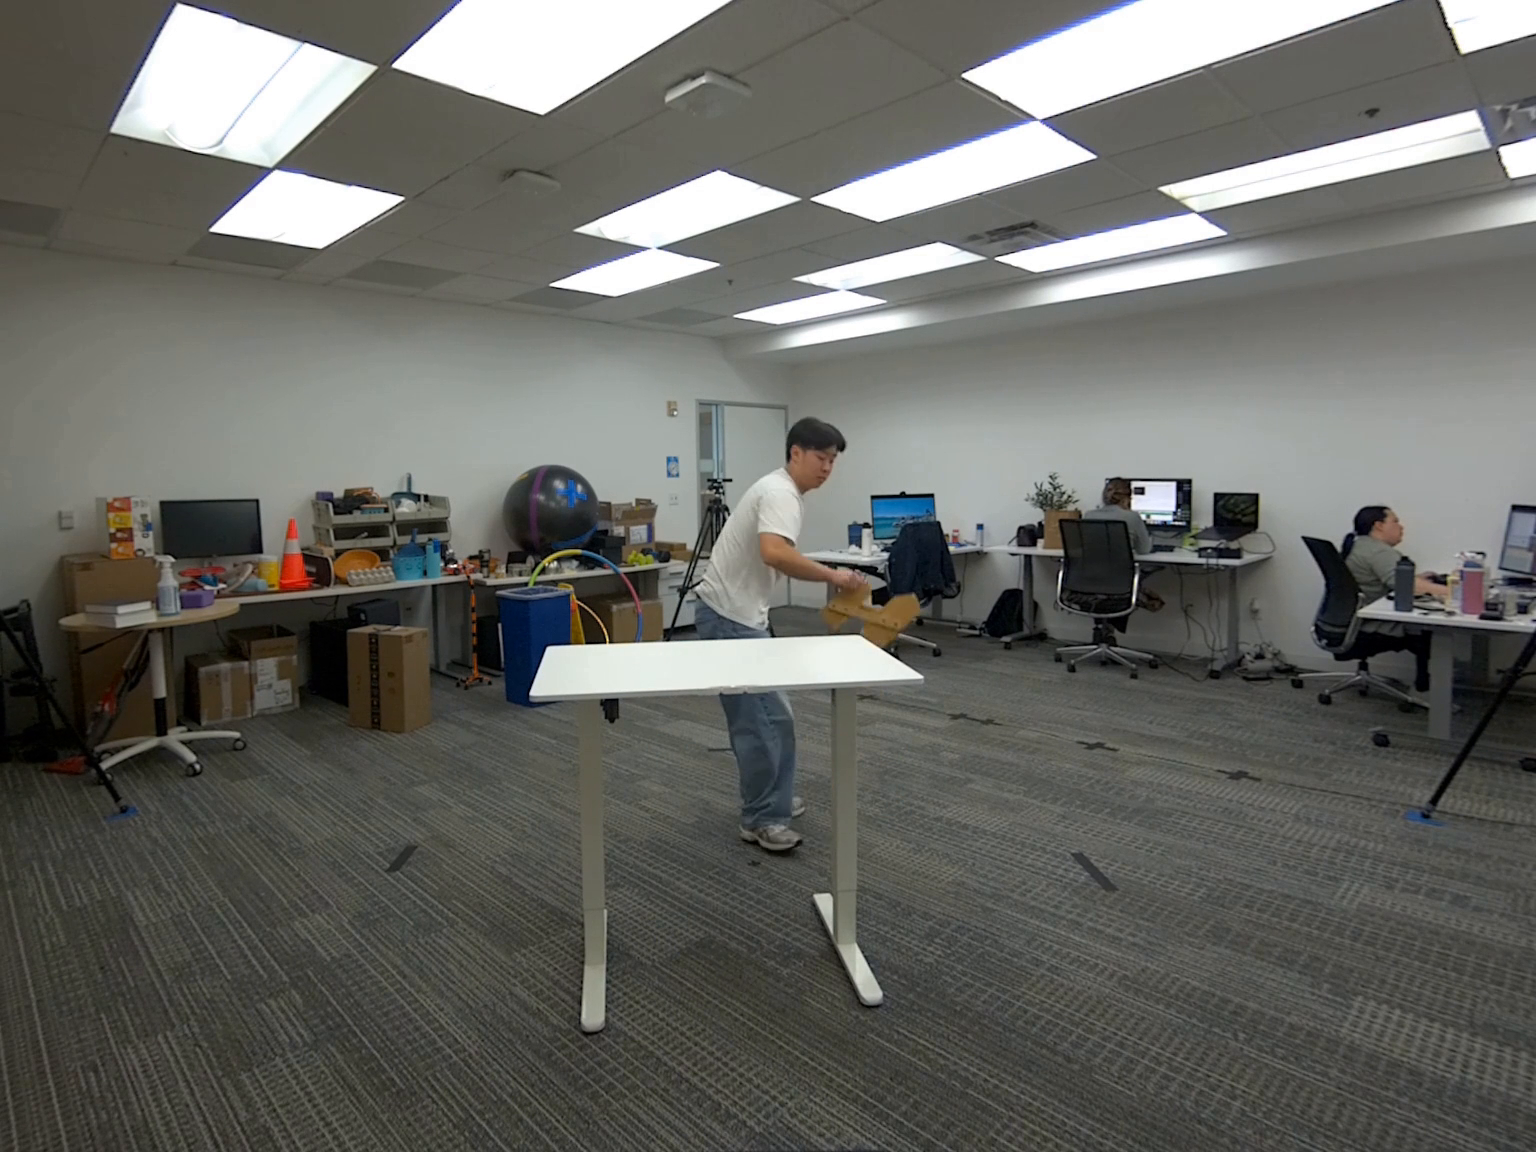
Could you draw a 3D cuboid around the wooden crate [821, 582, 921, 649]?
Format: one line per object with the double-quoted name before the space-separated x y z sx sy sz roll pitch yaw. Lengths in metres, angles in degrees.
"wooden crate" 0.383 0.131 3.315 0.302 0.276 0.321 -46 -7 5
